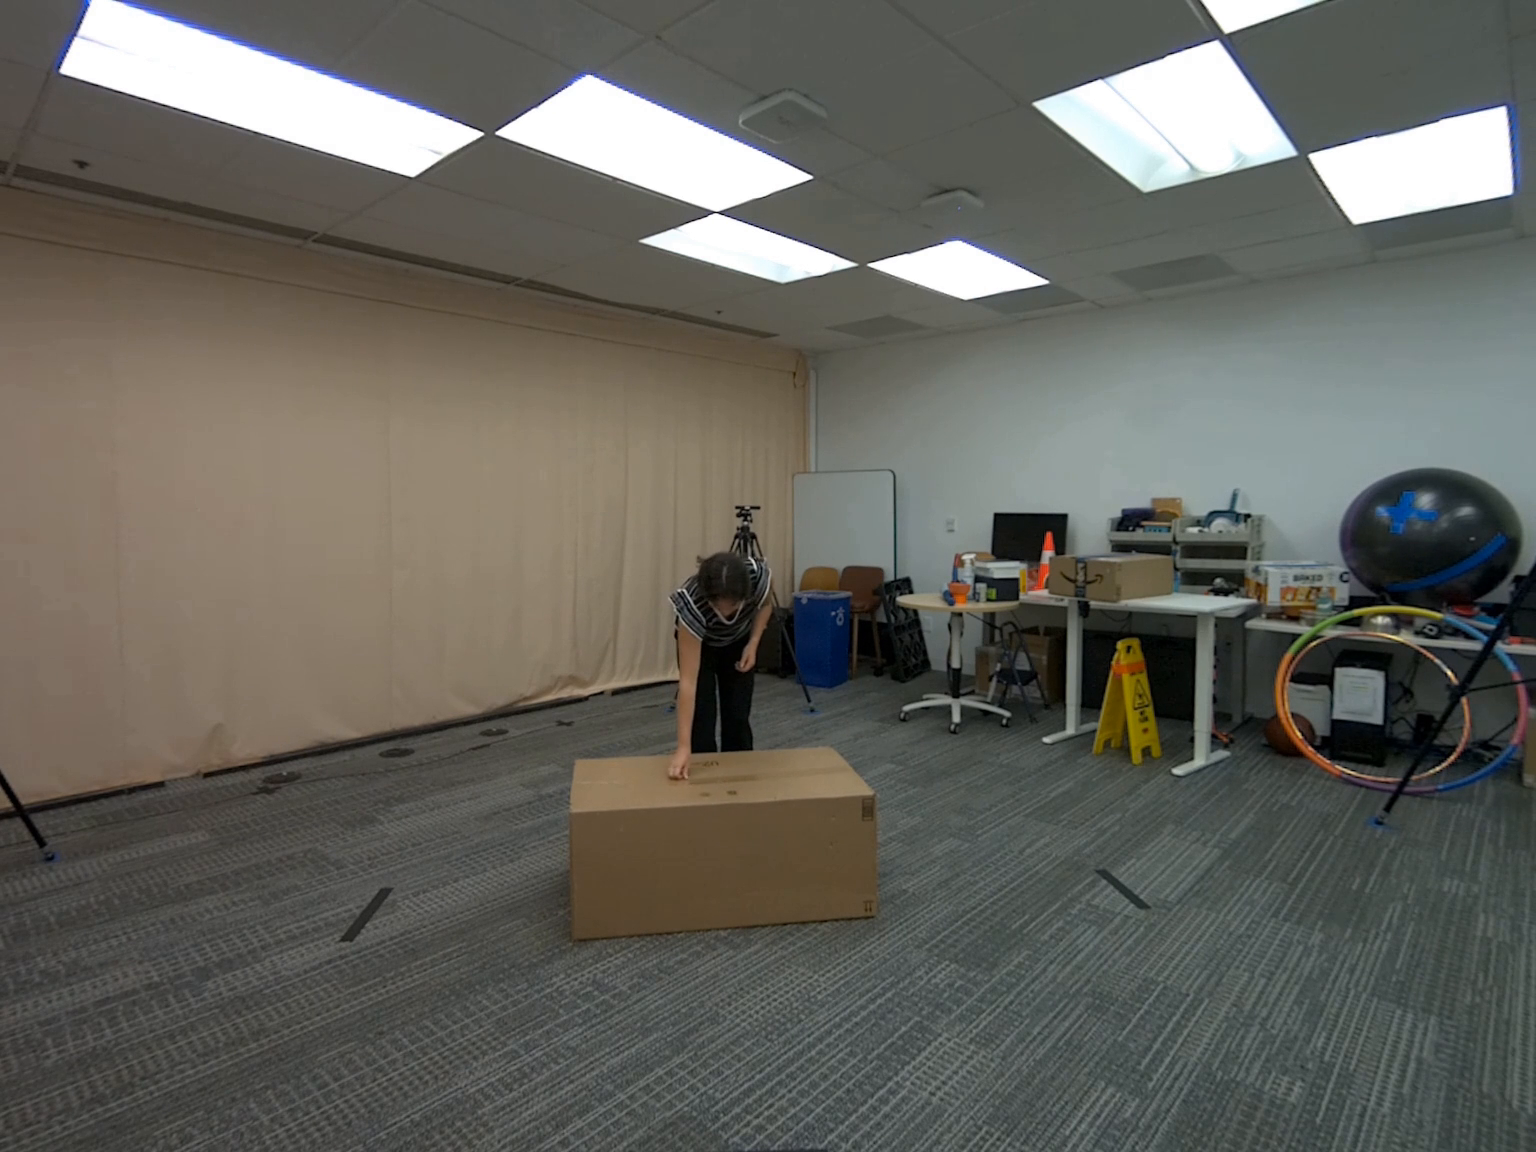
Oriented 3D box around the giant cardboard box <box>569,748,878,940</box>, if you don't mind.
[{"bbox_3d":[-0.187,0.930,3.042,1.016,0.425,0.584,-1,4,-9],"label":"giant cardboard box"}]
